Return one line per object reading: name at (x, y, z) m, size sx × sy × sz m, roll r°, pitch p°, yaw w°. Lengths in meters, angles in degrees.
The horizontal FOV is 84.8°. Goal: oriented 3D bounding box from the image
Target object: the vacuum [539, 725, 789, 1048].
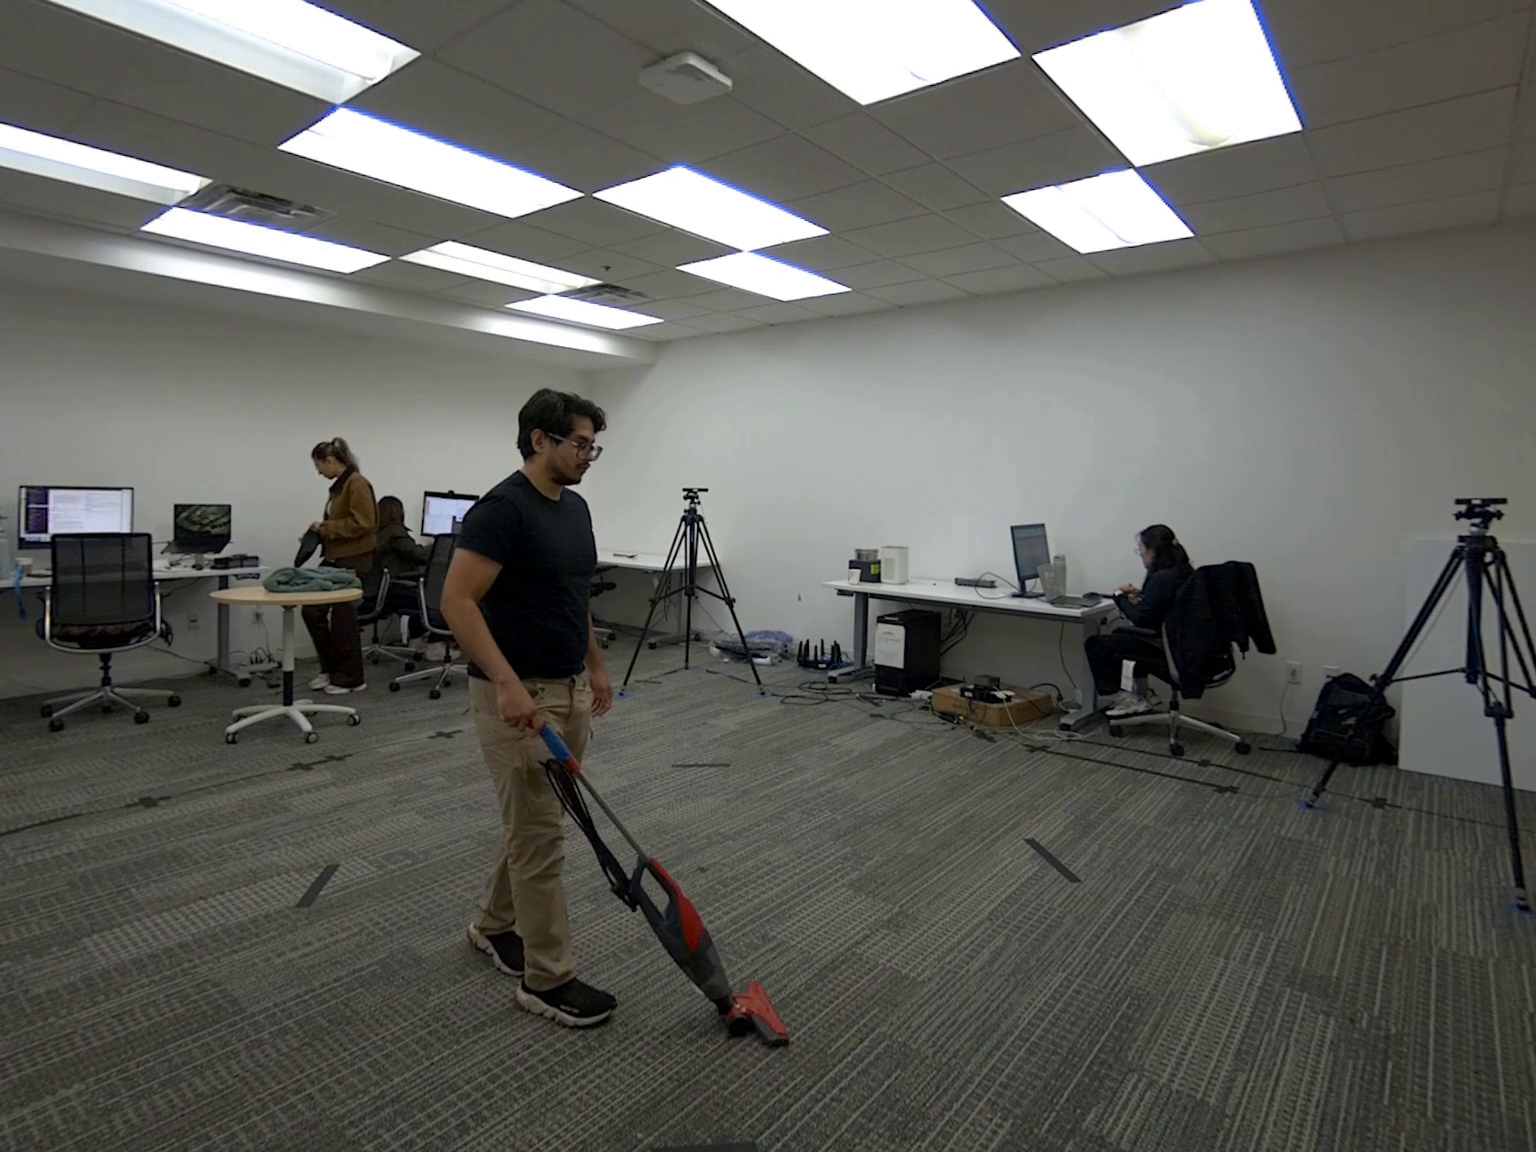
vacuum at (-0.344, 0.744, 2.131) m, size 0.143 × 1.032 × 0.257 m, roll -36°, pitch 12°, yaw -10°
